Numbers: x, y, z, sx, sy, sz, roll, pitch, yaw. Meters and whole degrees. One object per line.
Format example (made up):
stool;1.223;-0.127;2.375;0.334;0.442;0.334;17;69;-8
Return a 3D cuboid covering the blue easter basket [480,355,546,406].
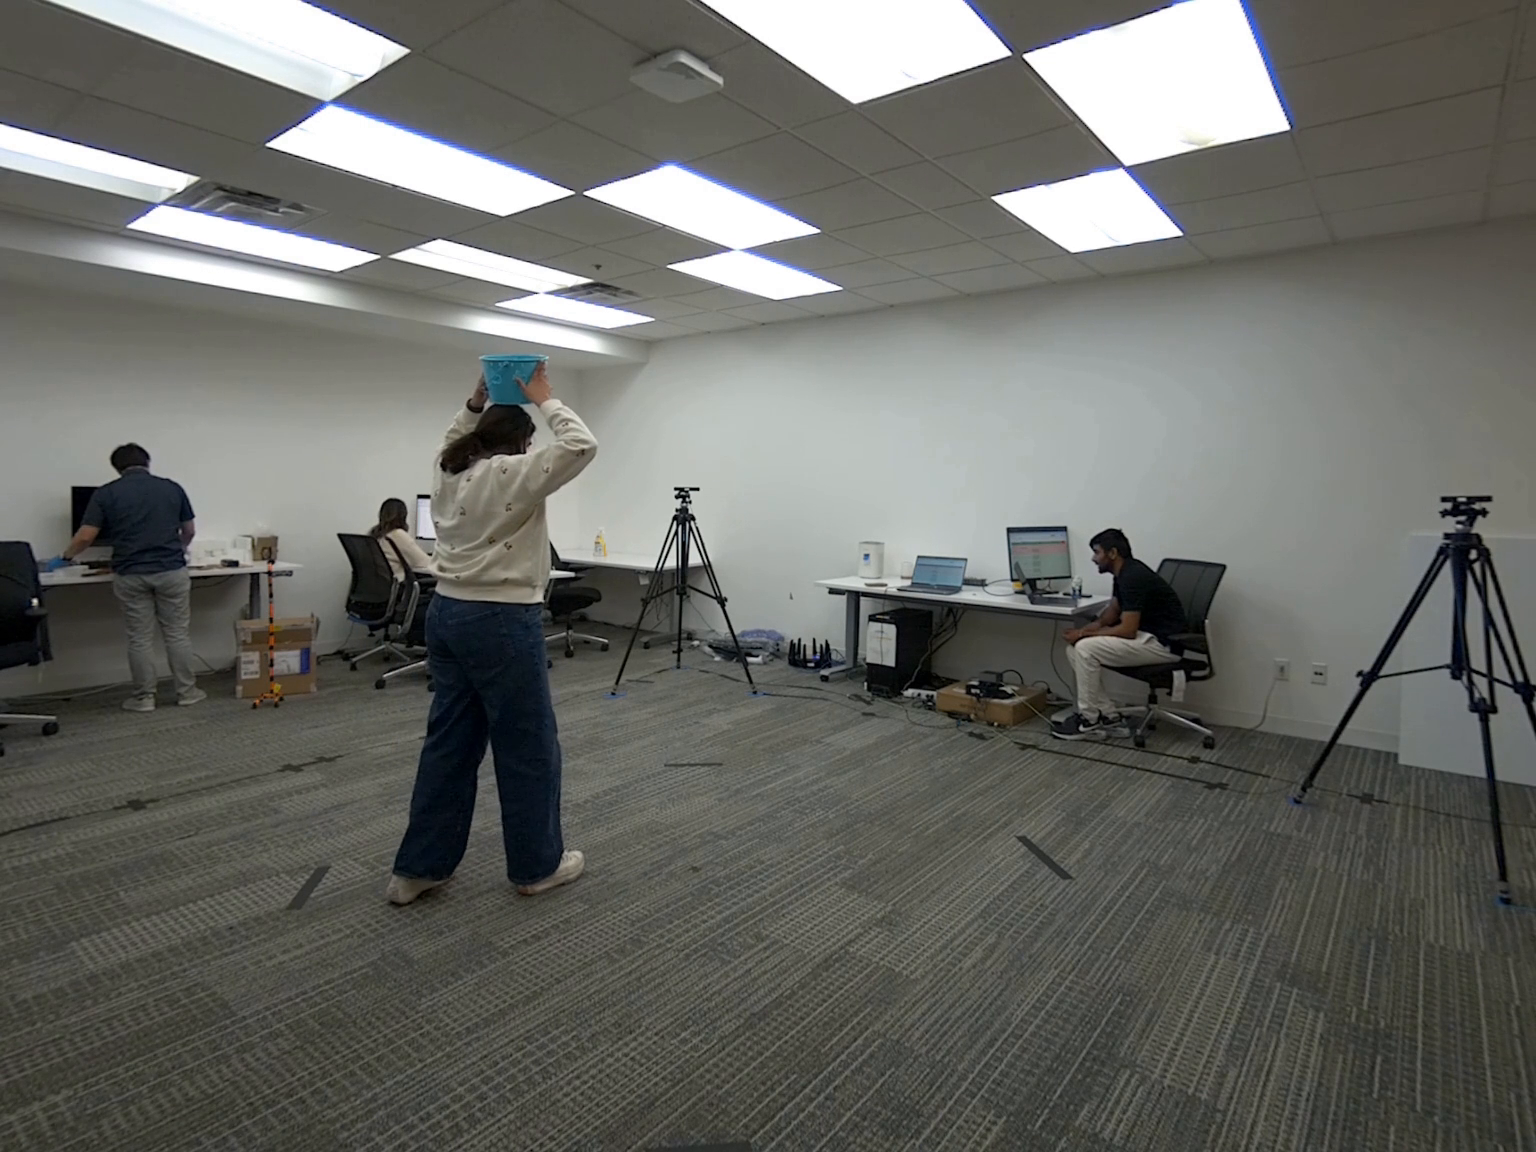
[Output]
blue easter basket;-0.905;-0.688;2.951;0.243;0.153;0.248;0;17;-2
